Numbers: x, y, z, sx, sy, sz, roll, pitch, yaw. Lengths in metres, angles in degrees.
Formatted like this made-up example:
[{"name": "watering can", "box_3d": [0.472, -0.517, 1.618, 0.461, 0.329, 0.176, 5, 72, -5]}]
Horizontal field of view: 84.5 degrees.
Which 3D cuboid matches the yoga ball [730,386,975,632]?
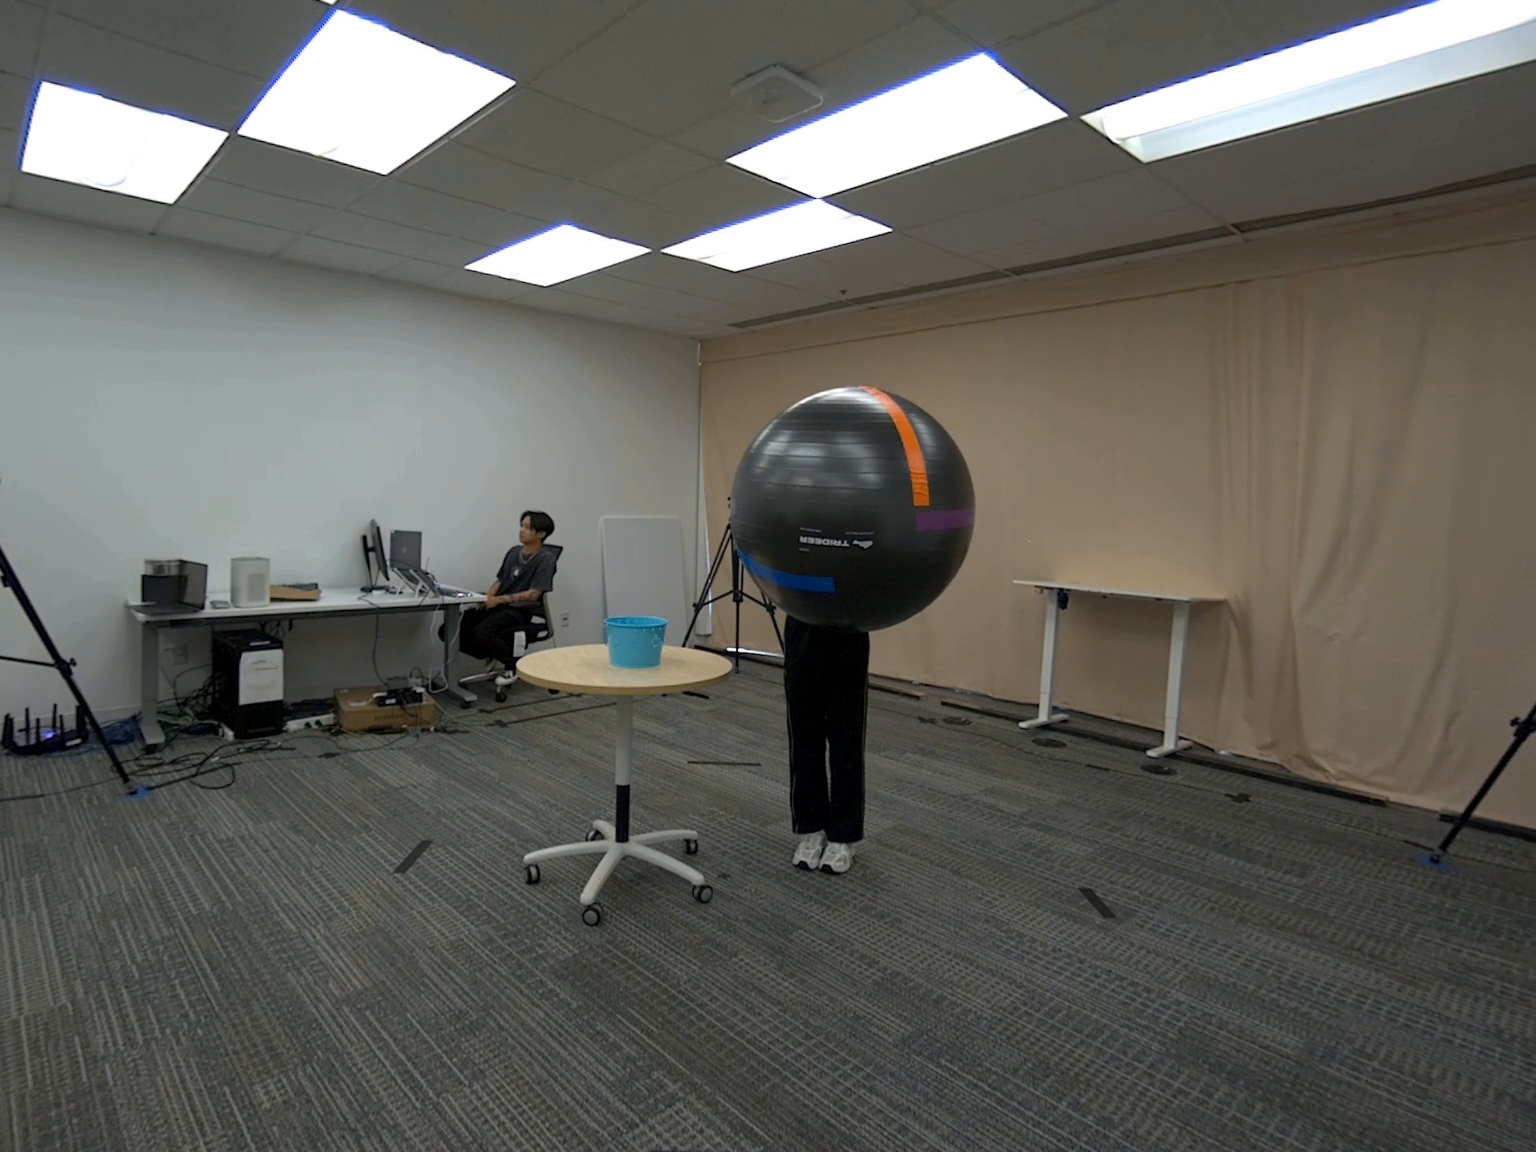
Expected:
[{"name": "yoga ball", "box_3d": [0.252, -0.198, 2.619, 0.757, 0.756, 0.761, 1, 4, -1]}]
